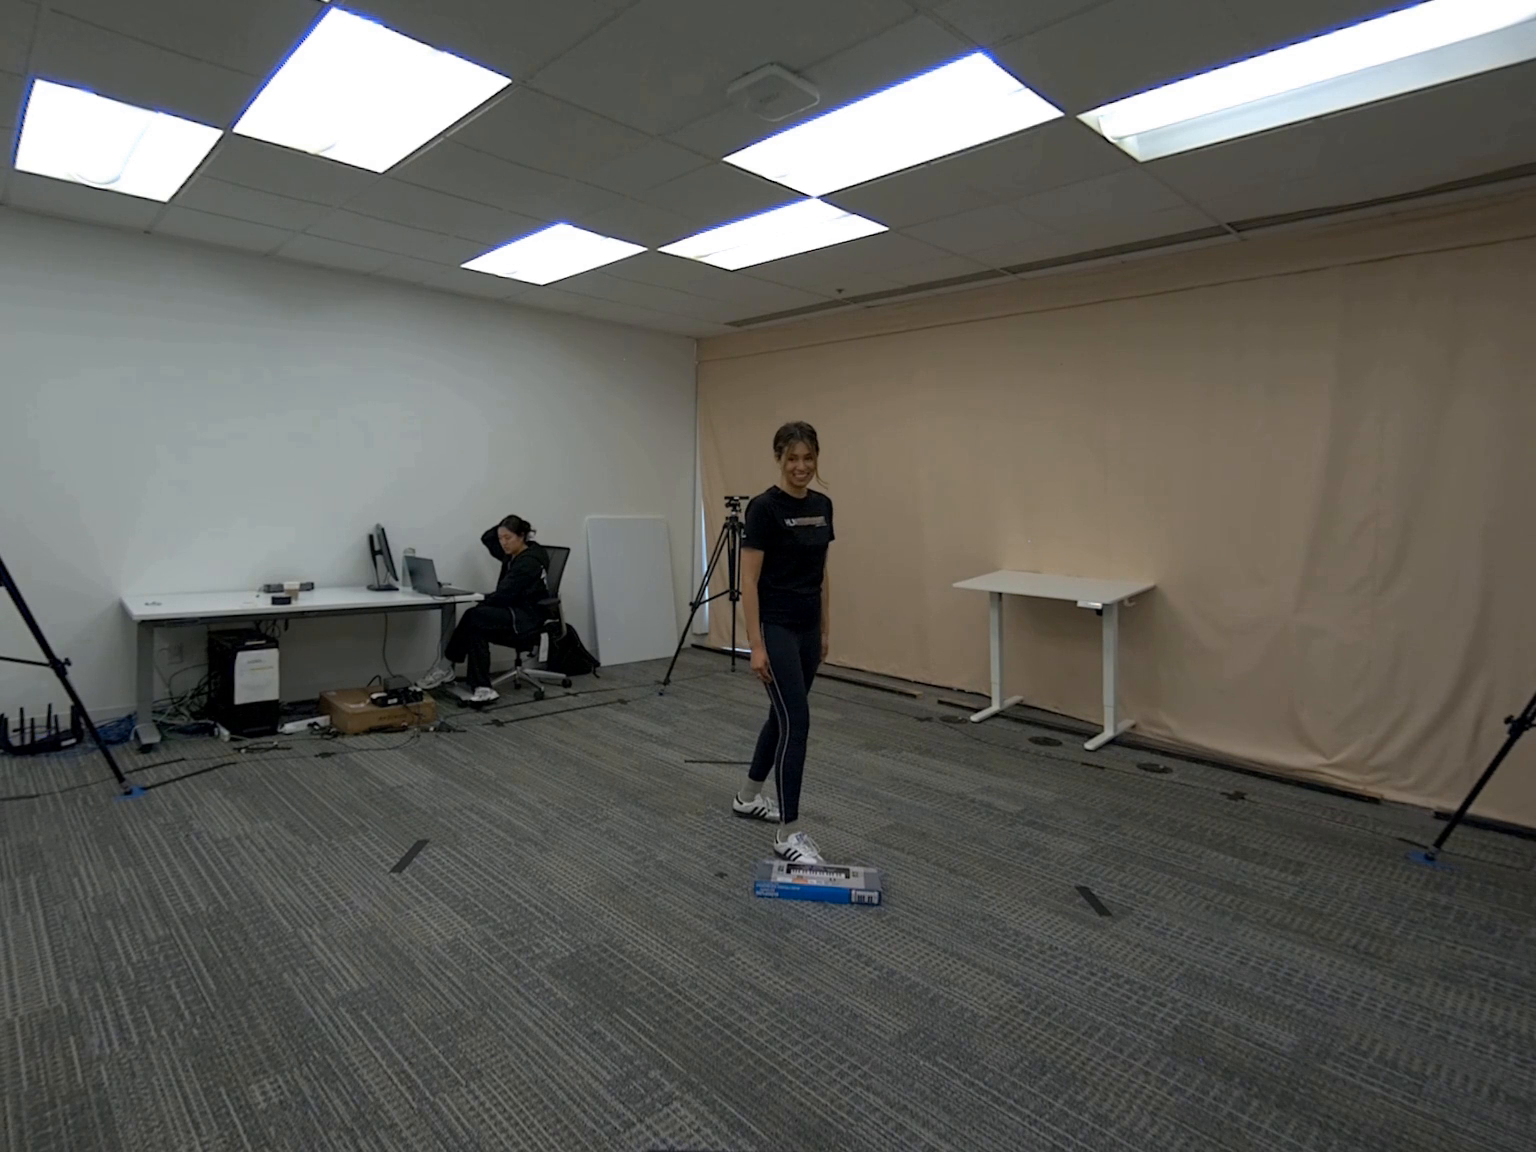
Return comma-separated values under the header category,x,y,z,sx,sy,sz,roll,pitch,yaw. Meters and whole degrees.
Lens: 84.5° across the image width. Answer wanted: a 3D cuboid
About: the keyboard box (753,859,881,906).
category,x,y,z,sx,sy,sz,roll,pitch,yaw
keyboard box,0.172,1.091,2.994,0.439,0.059,0.175,2,6,7
